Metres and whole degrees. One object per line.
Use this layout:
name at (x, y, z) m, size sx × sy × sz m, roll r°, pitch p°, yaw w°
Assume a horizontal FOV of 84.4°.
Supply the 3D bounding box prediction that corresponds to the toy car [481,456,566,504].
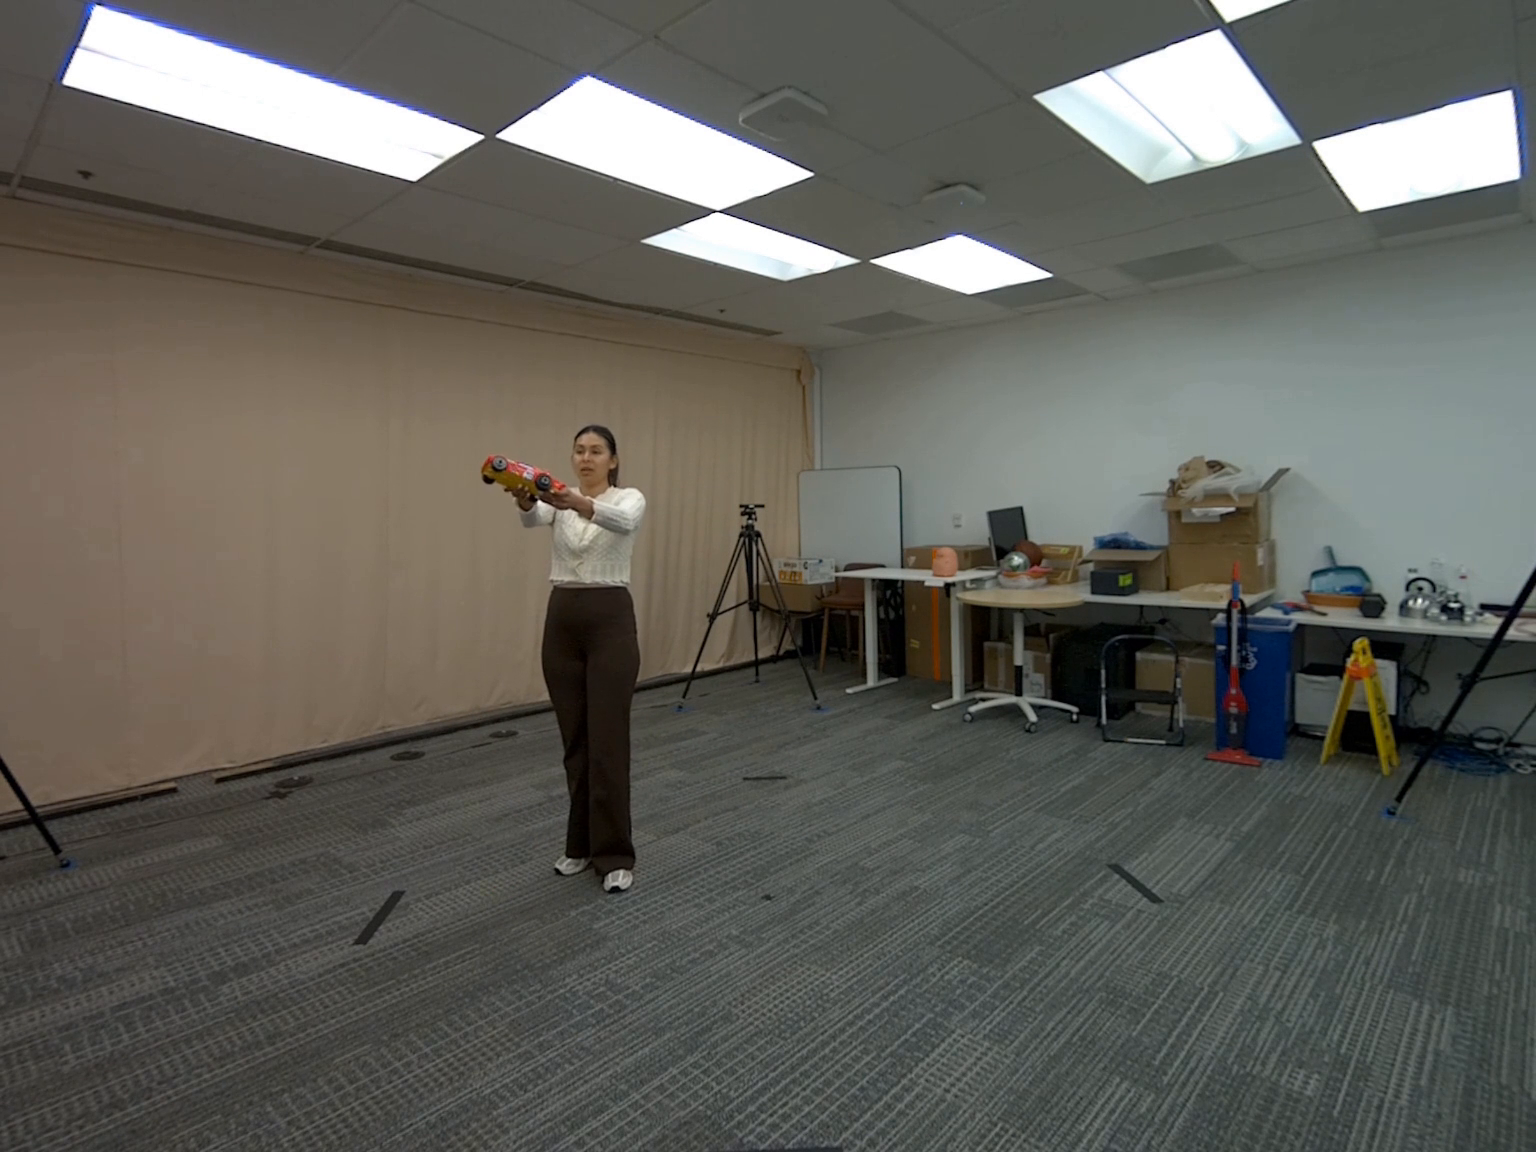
toy car at (-0.752, -0.297, 2.607) m, size 0.247 × 0.084 × 0.132 m, roll 13°, pitch -25°, yaw -29°
